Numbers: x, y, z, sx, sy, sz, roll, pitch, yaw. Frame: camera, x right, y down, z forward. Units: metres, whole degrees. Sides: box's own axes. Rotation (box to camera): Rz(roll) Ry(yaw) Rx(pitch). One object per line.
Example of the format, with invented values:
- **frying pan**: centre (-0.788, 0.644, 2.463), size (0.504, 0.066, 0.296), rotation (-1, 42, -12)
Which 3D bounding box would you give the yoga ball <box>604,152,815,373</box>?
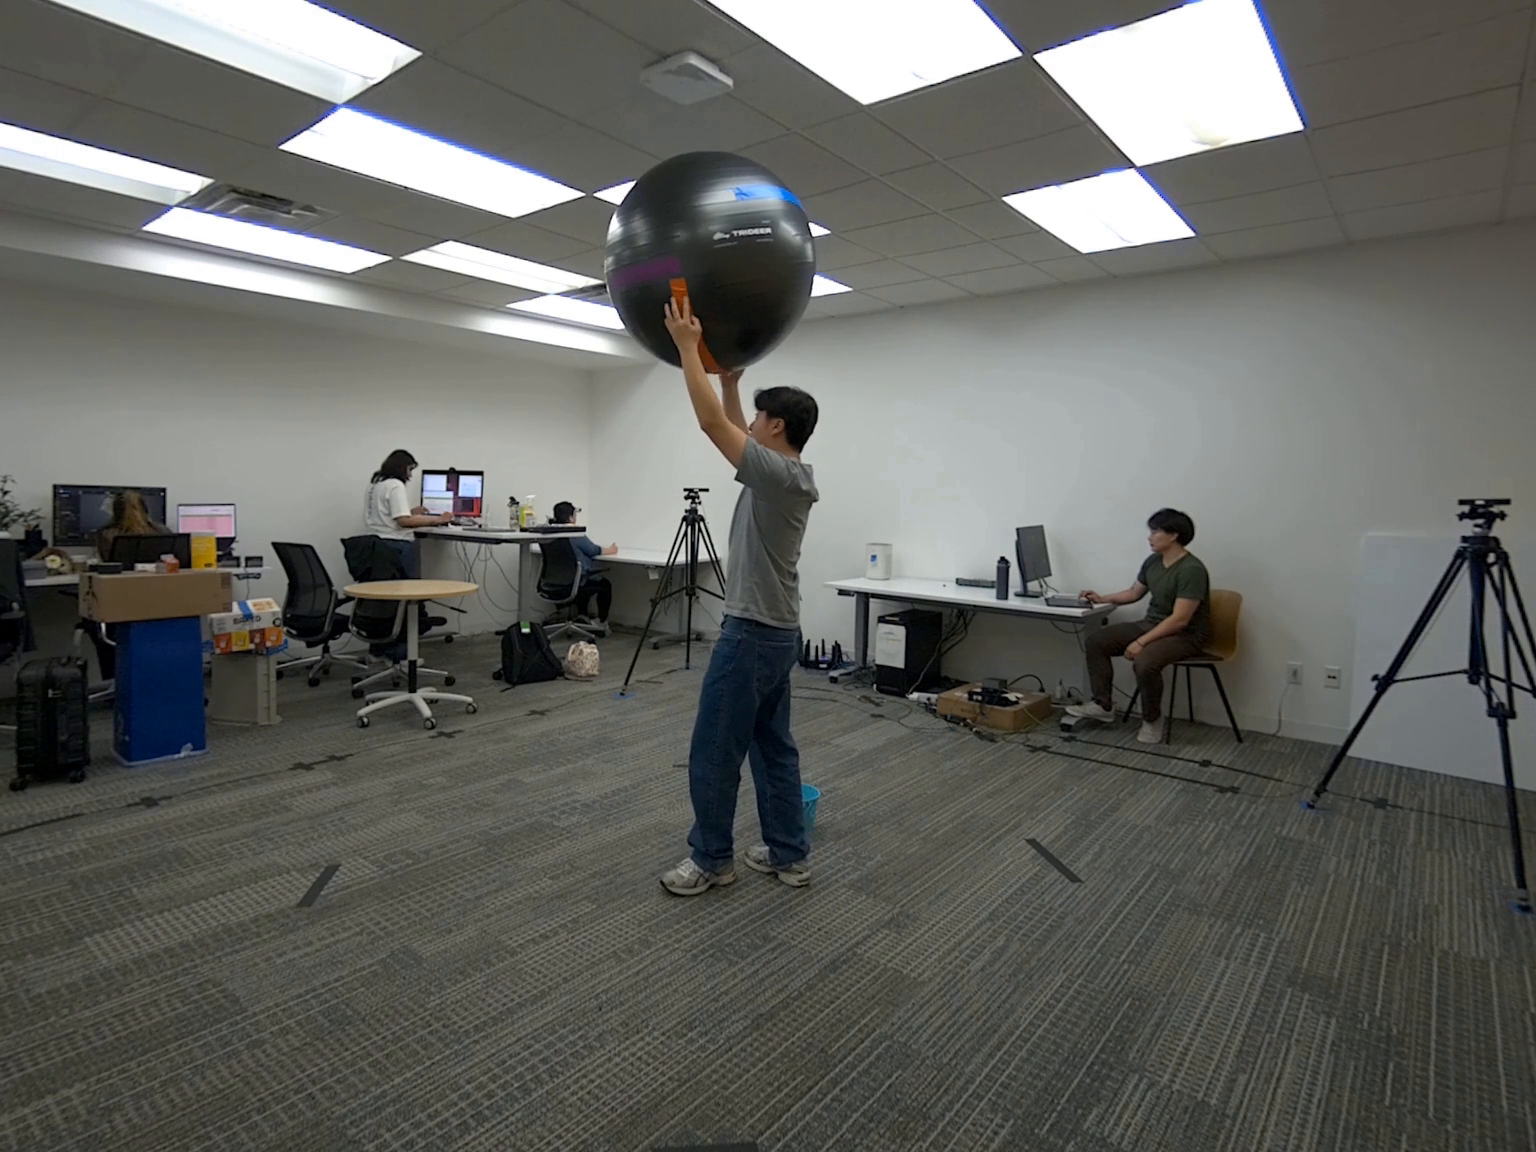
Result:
- **yoga ball**: centre (-0.217, -1.105, 3.054), size (0.757, 0.756, 0.761), rotation (1, 4, -2)
